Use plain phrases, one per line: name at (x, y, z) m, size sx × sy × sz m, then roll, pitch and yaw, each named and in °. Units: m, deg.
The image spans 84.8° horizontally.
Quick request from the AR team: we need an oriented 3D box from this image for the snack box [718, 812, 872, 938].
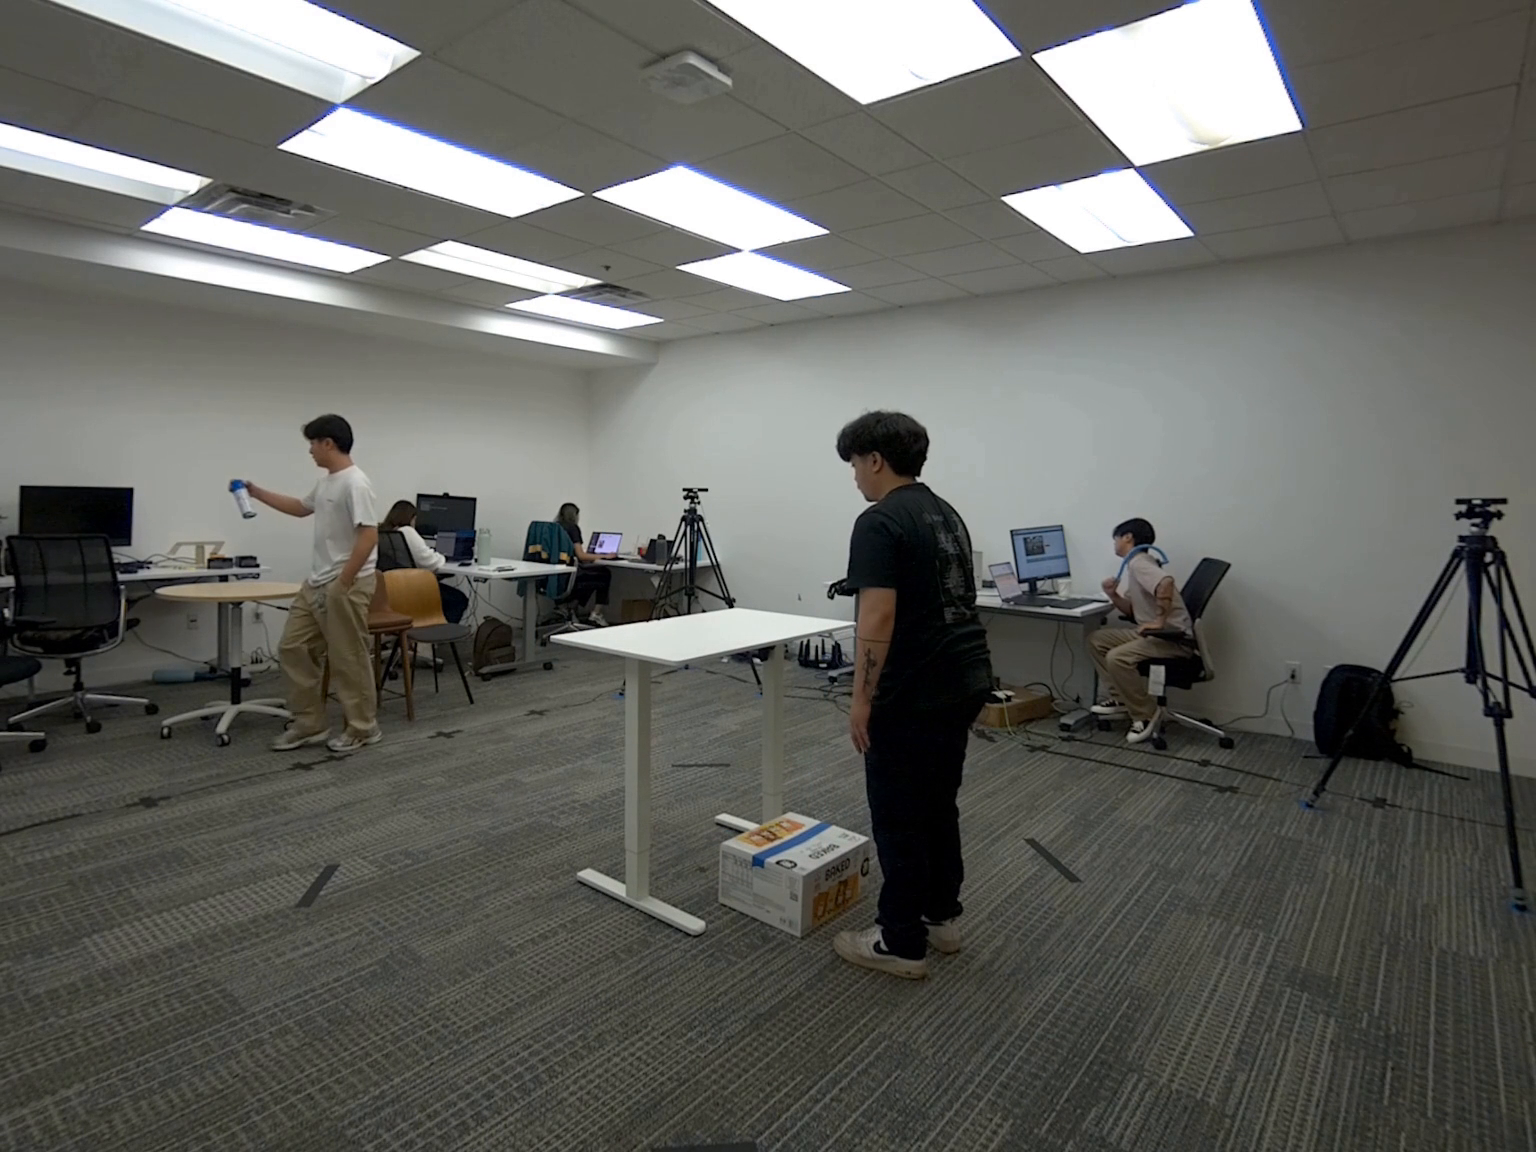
snack box at (0.085, 0.998, 2.884) m, size 0.352 × 0.205 × 0.393 m, roll 5°, pitch 6°, yaw 39°
